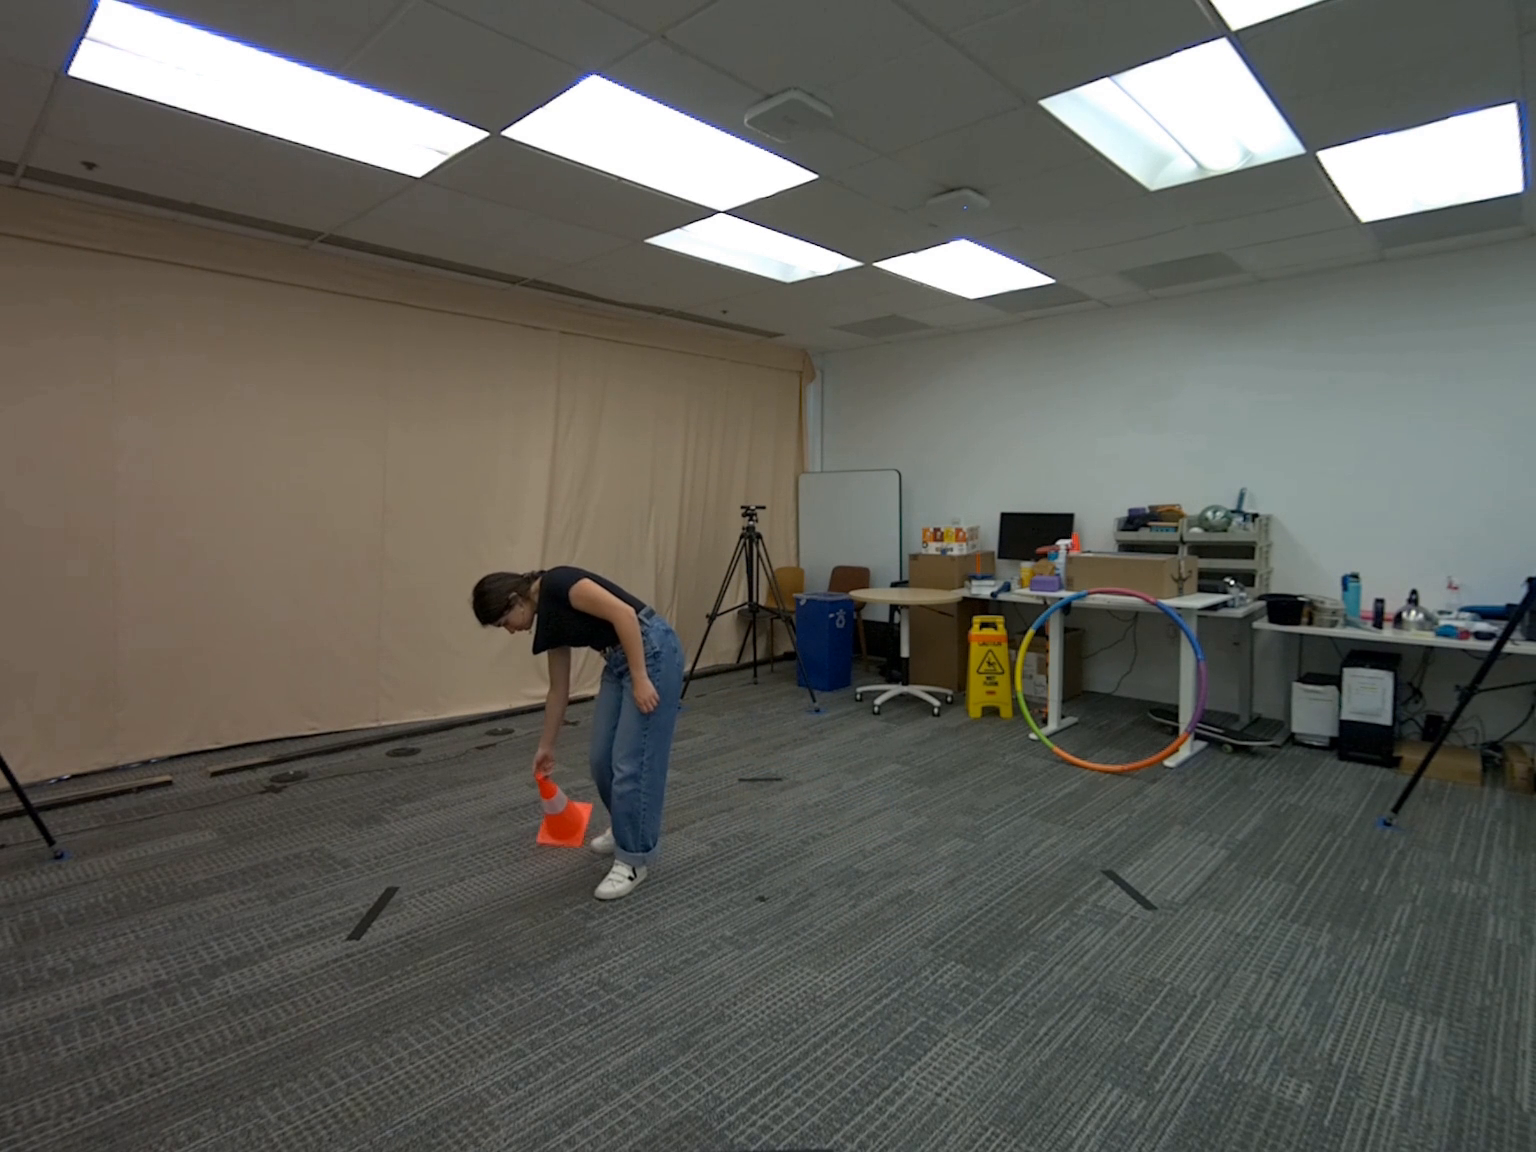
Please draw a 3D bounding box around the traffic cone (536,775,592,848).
[{"bbox_3d":[-0.869,0.914,3.425,0.205,0.374,0.208,-1,44,8],"label":"traffic cone"}]
